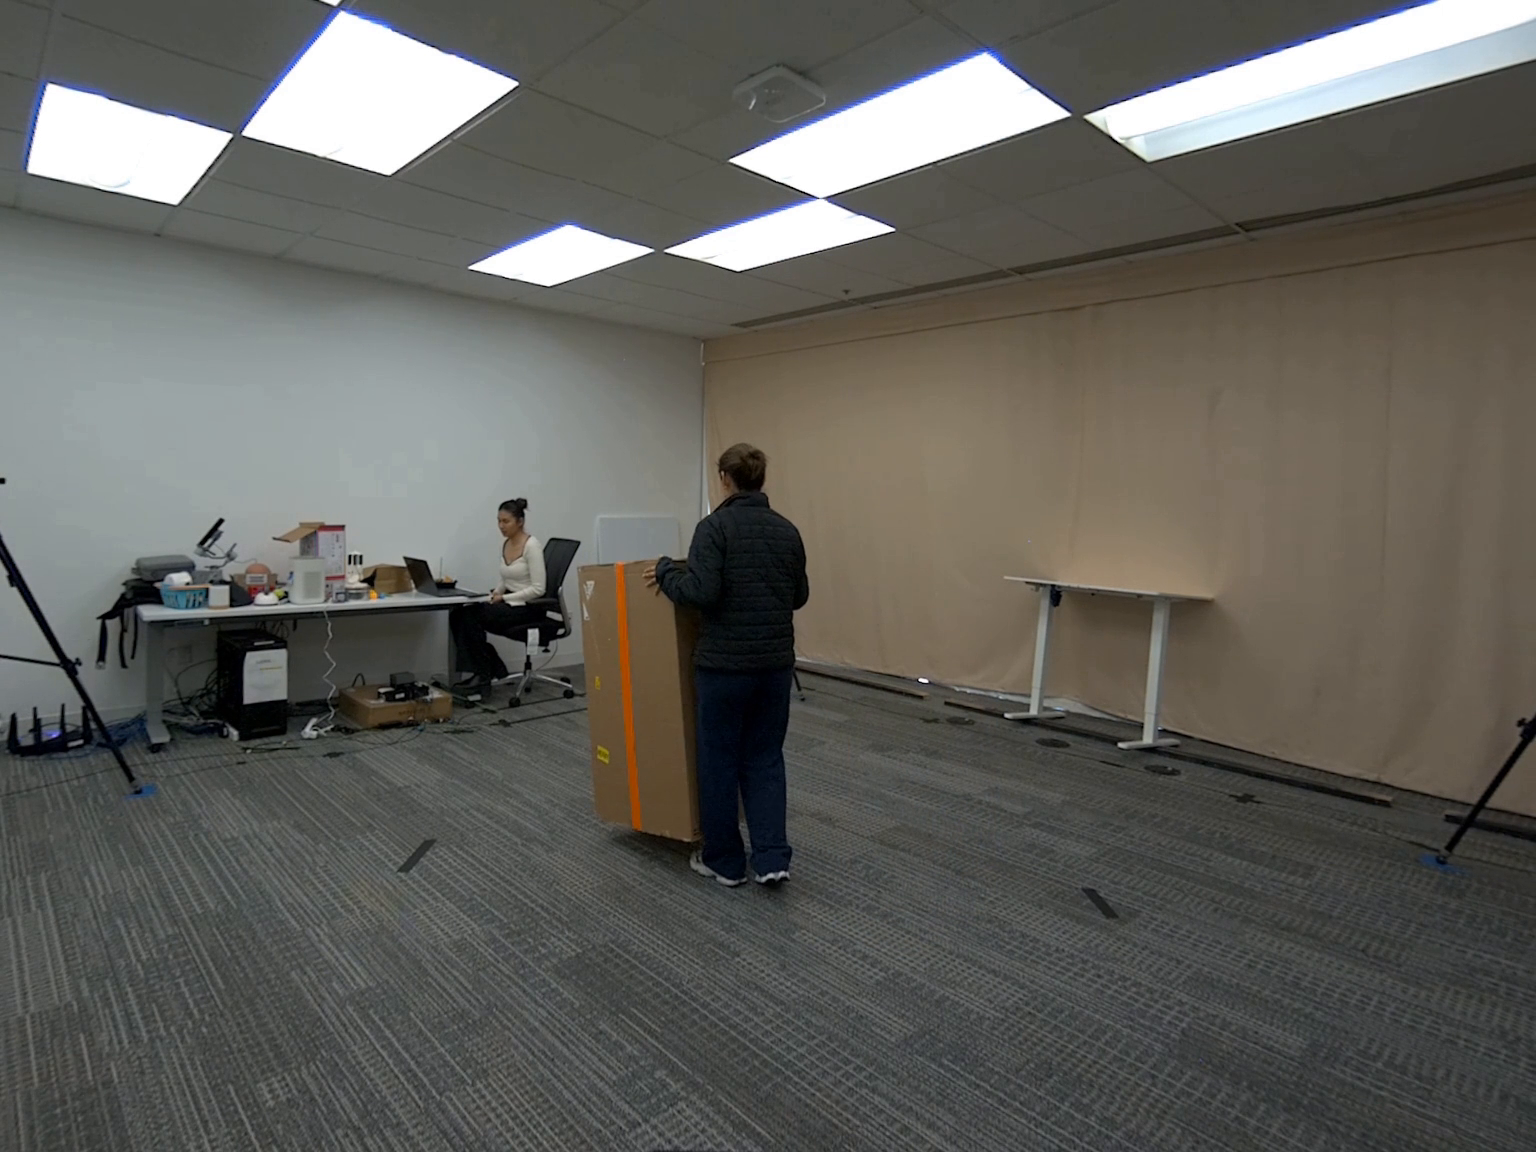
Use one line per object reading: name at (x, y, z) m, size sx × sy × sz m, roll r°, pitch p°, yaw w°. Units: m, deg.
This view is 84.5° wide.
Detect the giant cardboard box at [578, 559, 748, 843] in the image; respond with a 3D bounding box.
giant cardboard box at (-0.396, 0.449, 3.354) m, size 0.590 × 1.027 × 0.416 m, roll -5°, pitch -2°, yaw 44°
